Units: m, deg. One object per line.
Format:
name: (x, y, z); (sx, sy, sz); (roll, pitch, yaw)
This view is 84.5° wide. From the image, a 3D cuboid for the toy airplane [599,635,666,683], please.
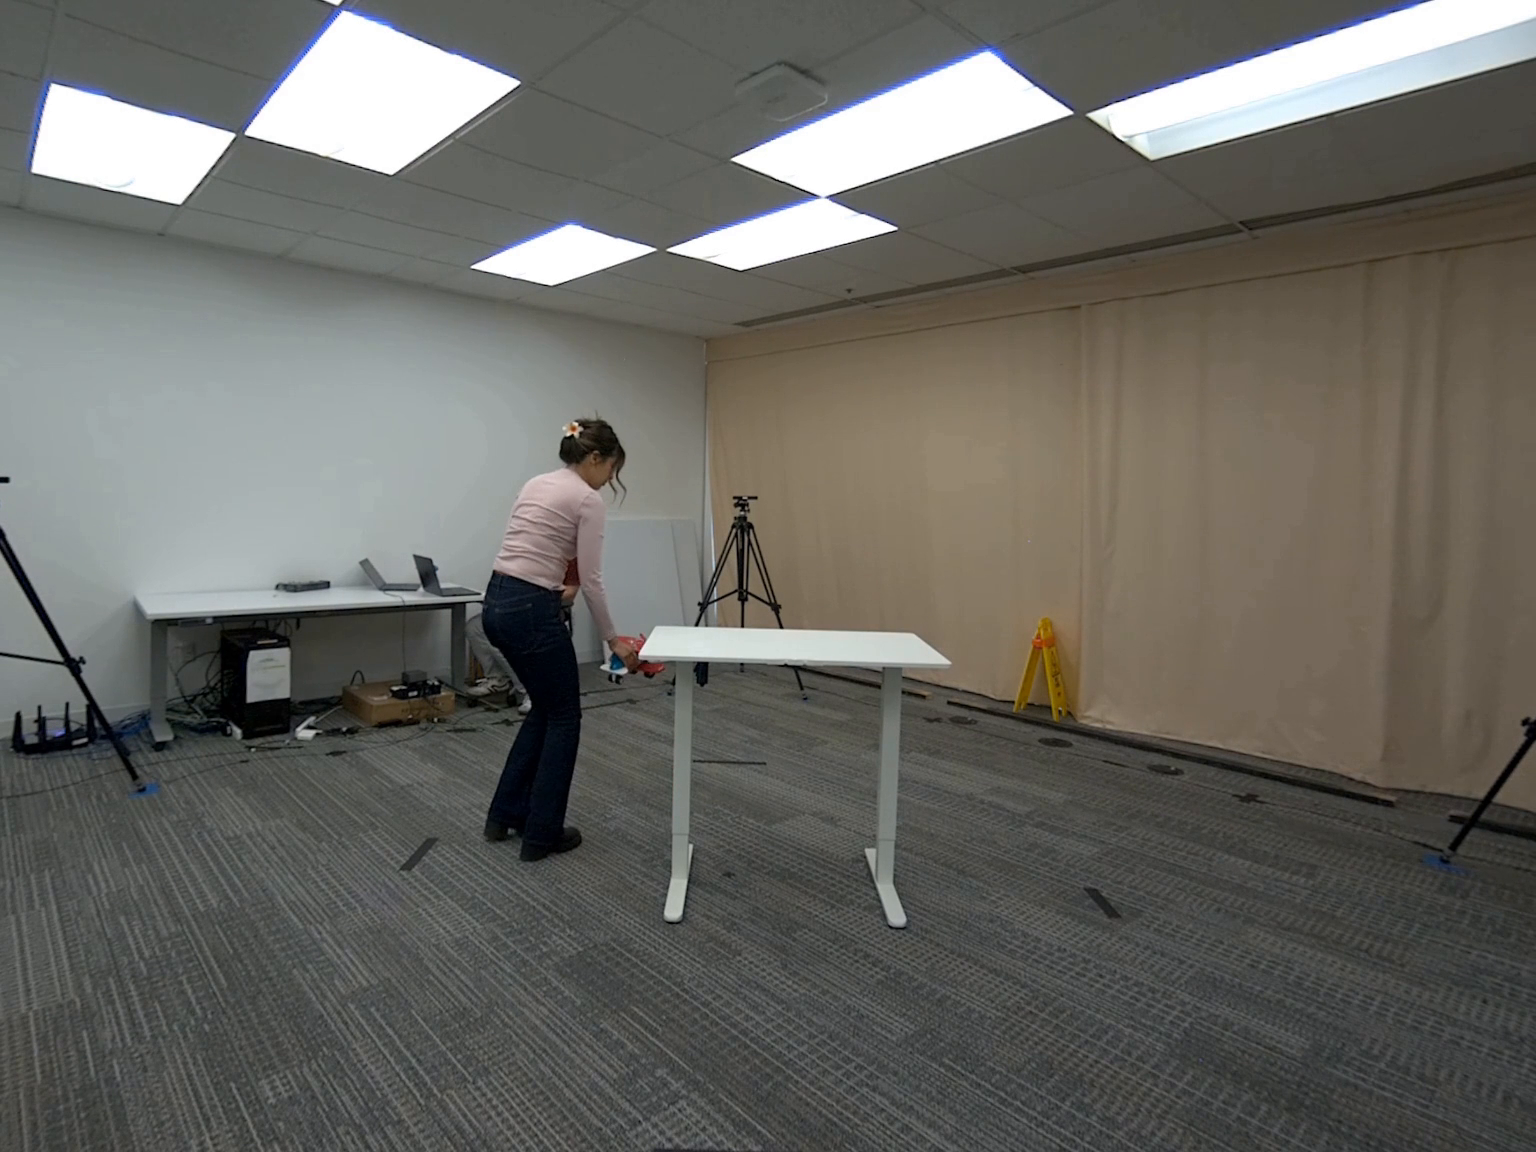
toy airplane: (-0.543, 0.345, 3.374); (0.251, 0.156, 0.260); (6, 4, -1)
